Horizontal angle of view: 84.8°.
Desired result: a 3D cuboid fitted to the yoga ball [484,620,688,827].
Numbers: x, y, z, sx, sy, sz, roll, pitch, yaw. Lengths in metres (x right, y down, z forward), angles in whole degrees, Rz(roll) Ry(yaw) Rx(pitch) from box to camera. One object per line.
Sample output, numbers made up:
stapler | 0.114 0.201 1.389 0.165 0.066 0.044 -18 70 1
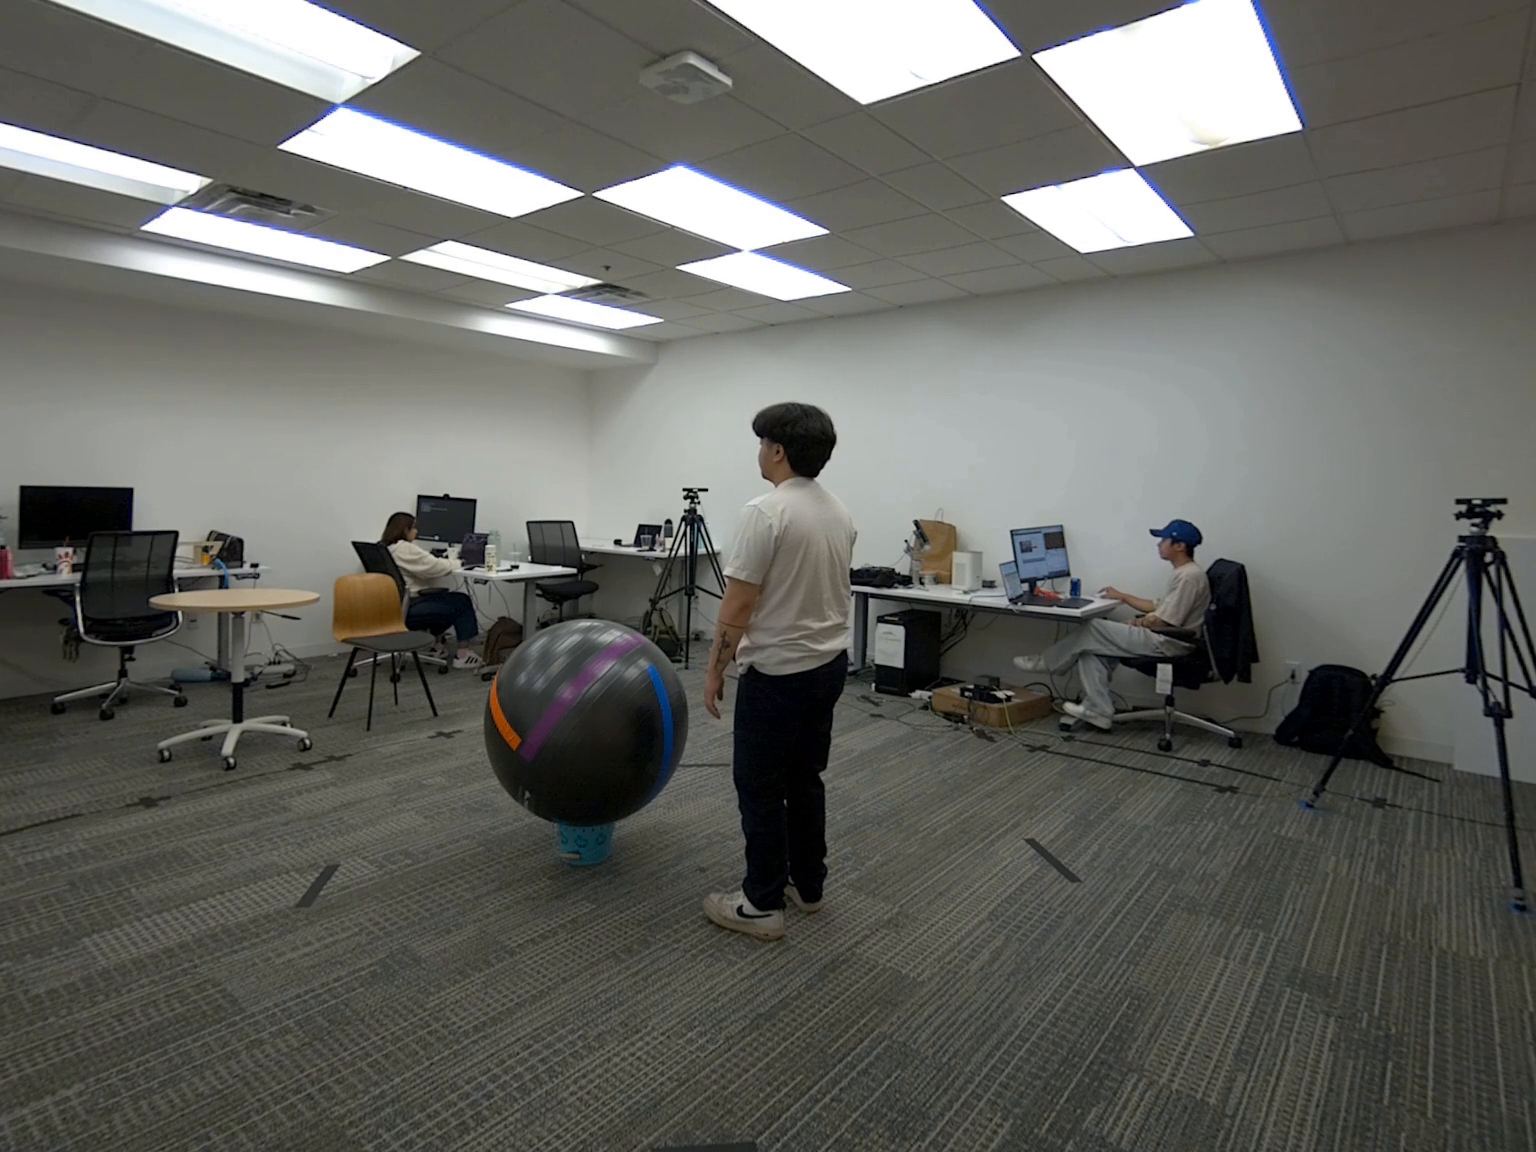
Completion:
yoga ball | -0.687 0.545 3.197 0.757 0.755 0.762 1 4 -2
